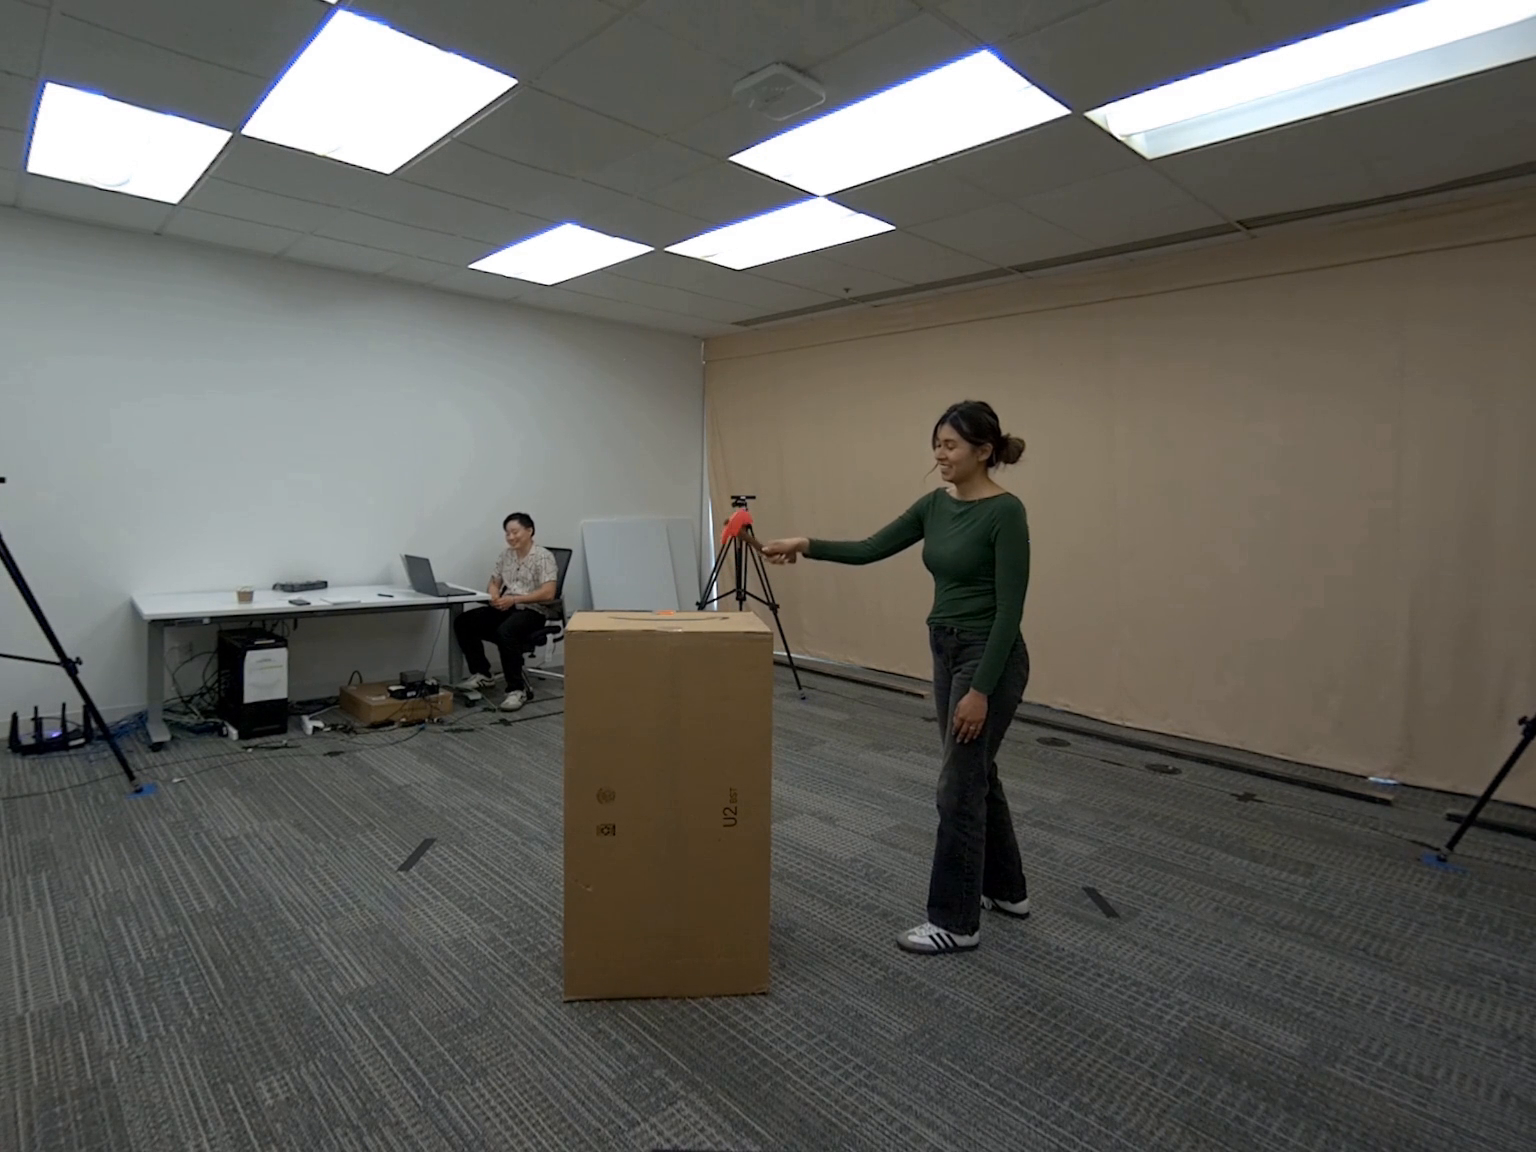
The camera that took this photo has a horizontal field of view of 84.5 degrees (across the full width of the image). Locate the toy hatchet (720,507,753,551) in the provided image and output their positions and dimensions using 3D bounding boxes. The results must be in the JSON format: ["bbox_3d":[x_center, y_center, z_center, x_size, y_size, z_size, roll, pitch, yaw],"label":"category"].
[{"bbox_3d":[-0.016,-0.137,2.656,0.265,0.132,0.030,14,-10,-18],"label":"toy hatchet"}]
